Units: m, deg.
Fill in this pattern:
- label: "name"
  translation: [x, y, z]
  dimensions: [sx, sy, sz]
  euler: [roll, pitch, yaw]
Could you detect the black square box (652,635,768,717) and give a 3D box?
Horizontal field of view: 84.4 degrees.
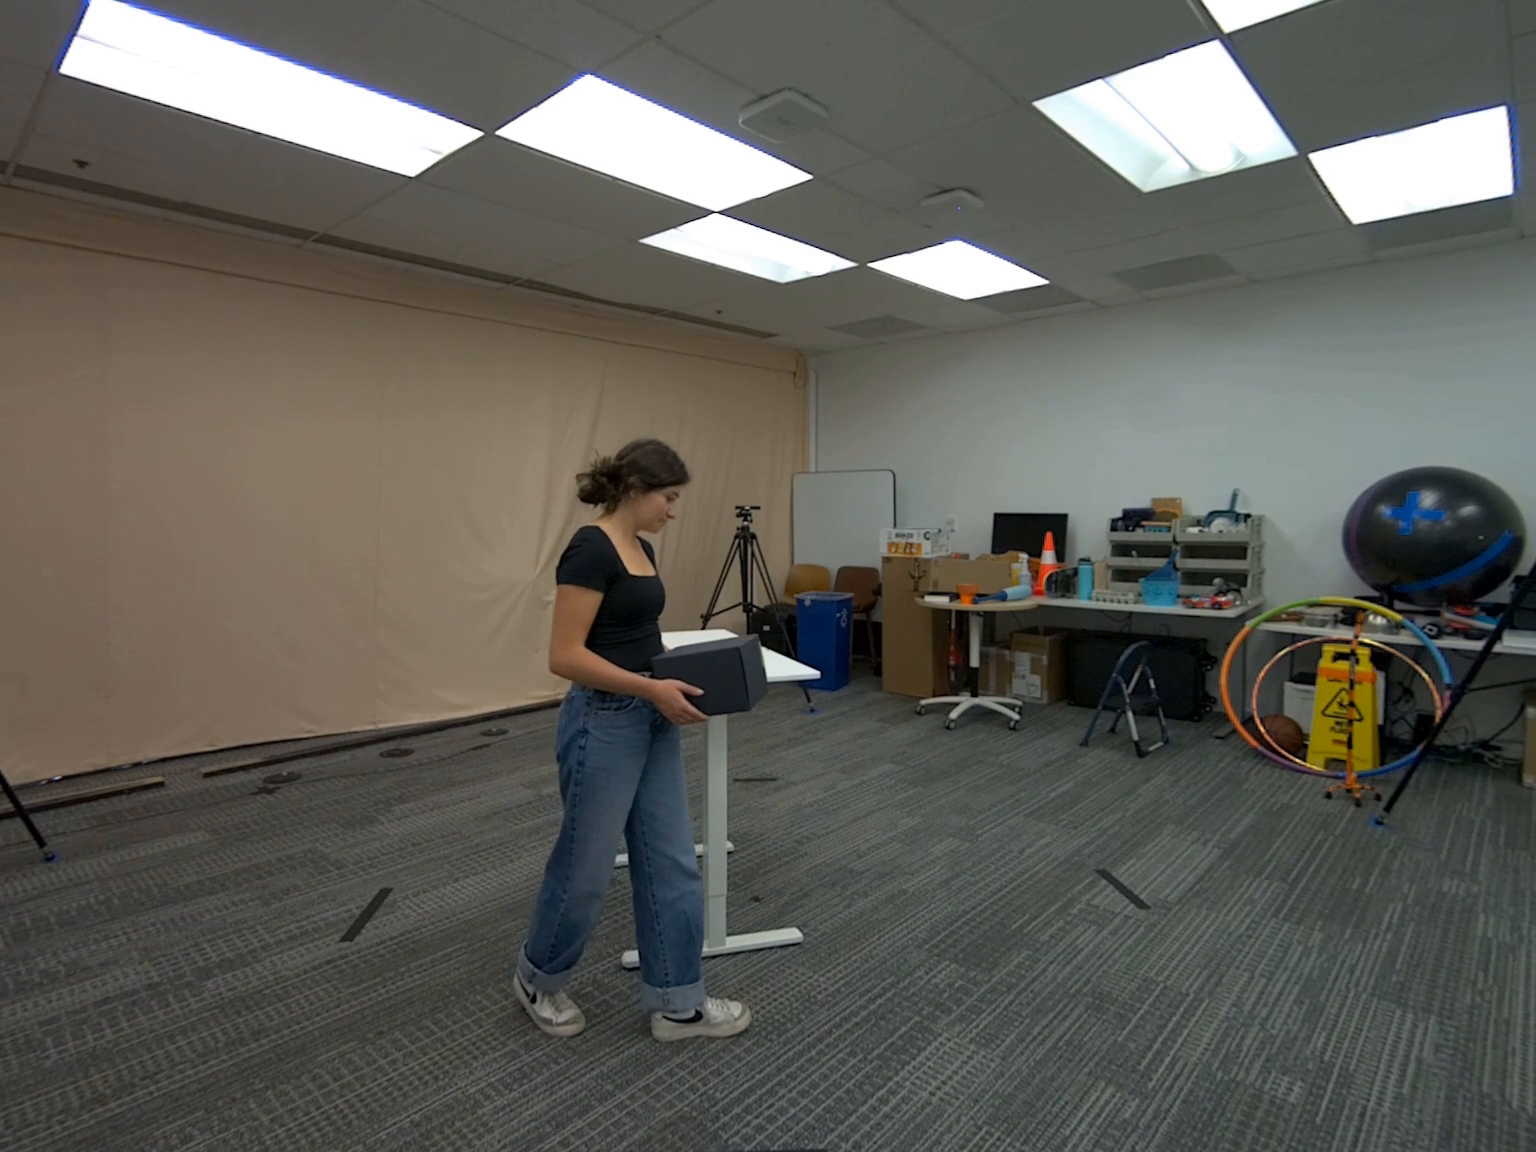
- label: "black square box"
  translation: [-0.137, 0.250, 2.098]
  dimensions: [0.231, 0.156, 0.214]
  euler: [-10, 0, 13]
